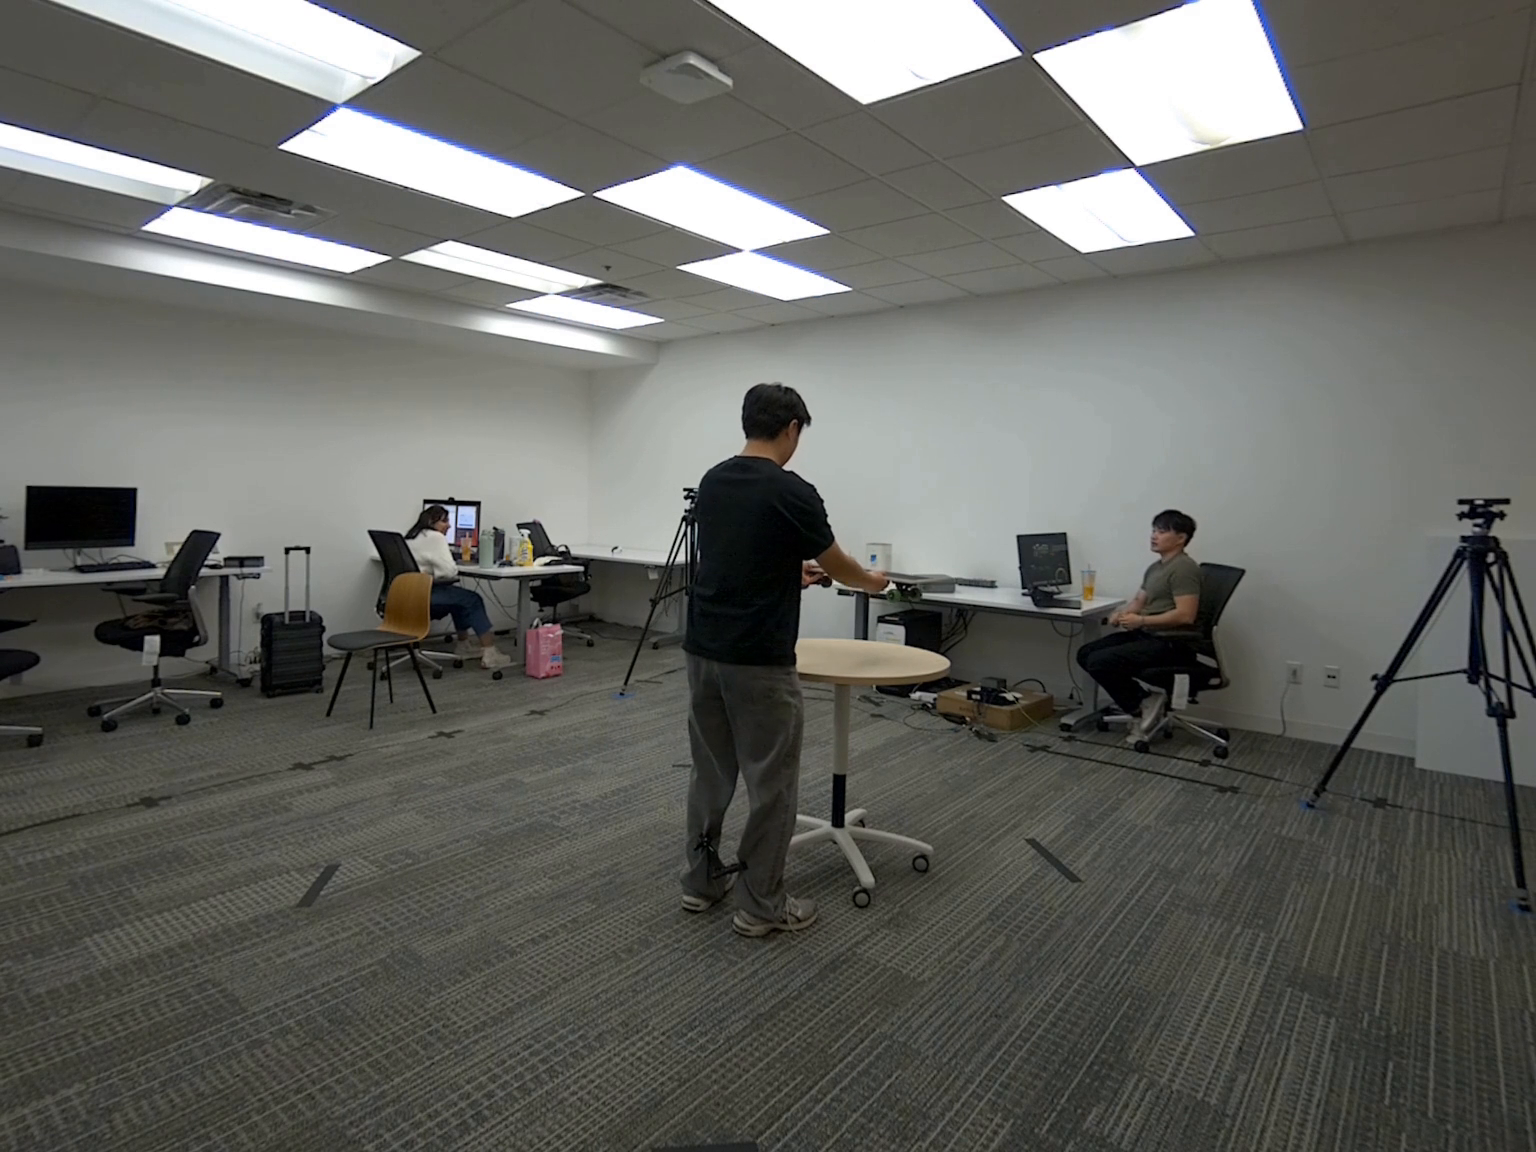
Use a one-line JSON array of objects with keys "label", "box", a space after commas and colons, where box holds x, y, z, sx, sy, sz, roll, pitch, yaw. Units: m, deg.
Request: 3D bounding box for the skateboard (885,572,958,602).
[{"label": "skateboard", "box": [0.340, 0.012, 3.199, 0.187, 0.110, 0.813, 5, 3, -45]}]
